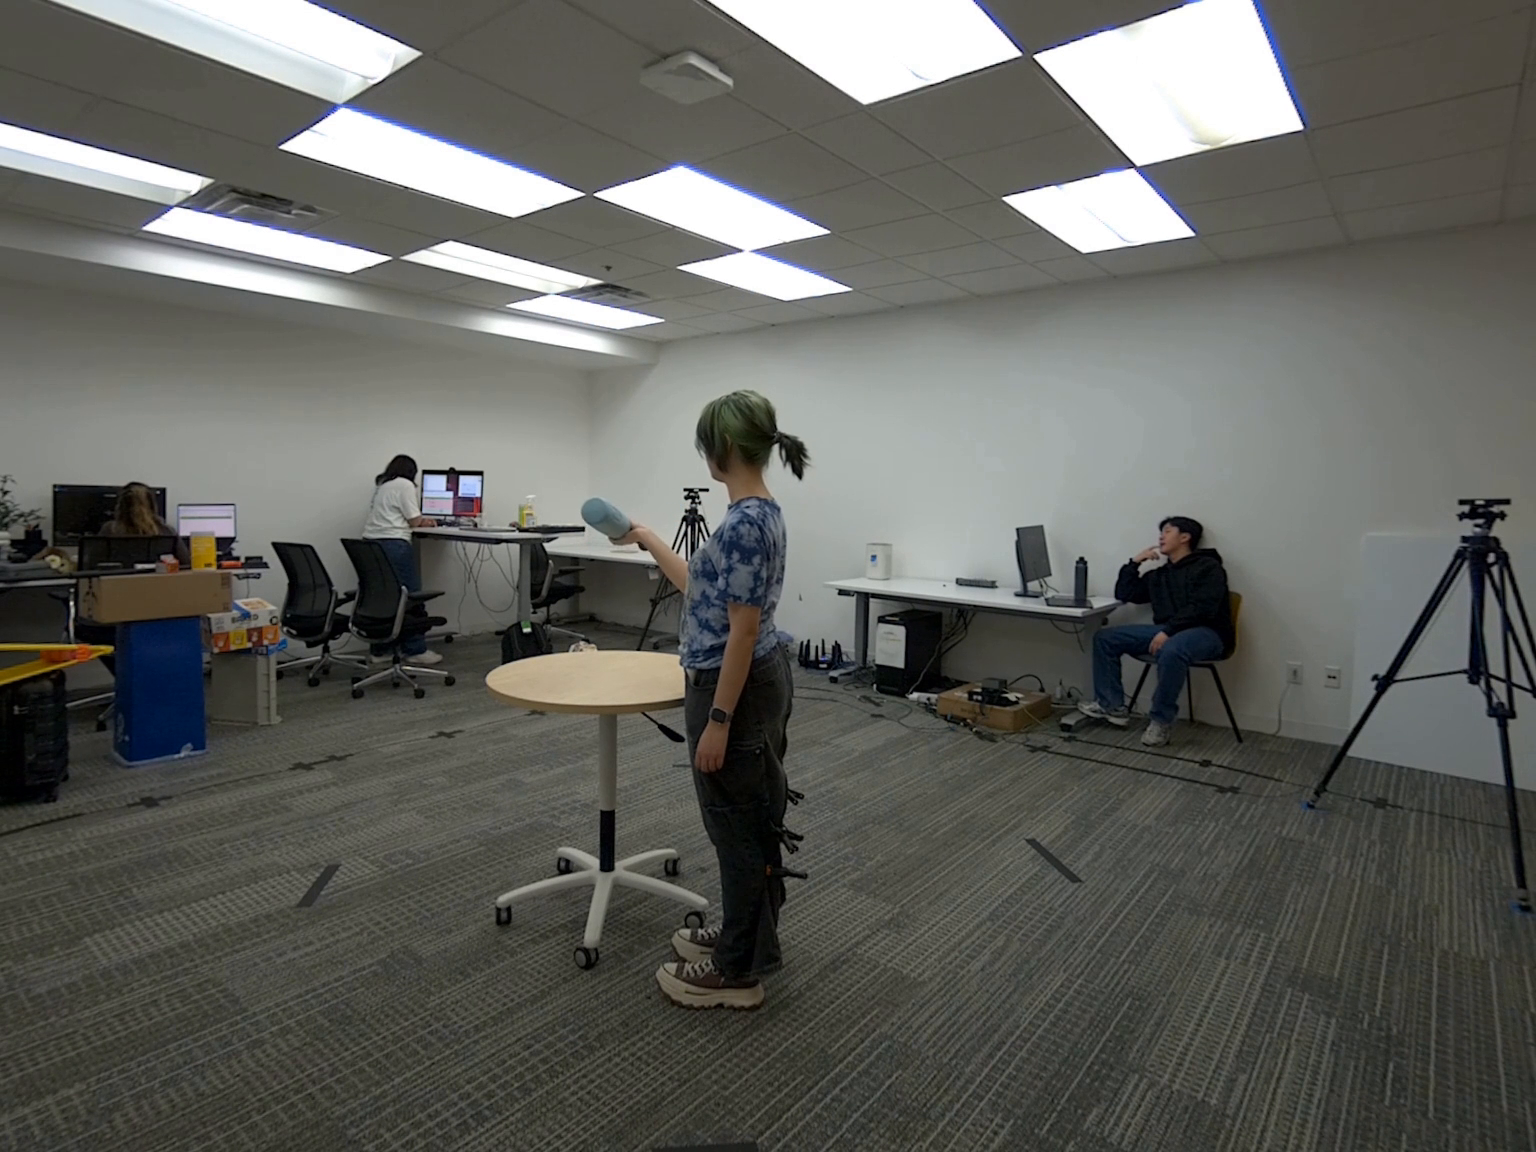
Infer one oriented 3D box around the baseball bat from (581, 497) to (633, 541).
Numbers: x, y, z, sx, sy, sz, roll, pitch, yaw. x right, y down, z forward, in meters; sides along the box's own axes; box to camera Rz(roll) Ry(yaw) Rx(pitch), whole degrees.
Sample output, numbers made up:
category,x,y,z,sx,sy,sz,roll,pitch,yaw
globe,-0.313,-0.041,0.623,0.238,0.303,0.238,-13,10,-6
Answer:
category,x,y,z,sx,sy,sz,roll,pitch,yaw
baseball bat,-0.487,-0.144,2.696,0.090,0.090,0.533,2,-9,6
